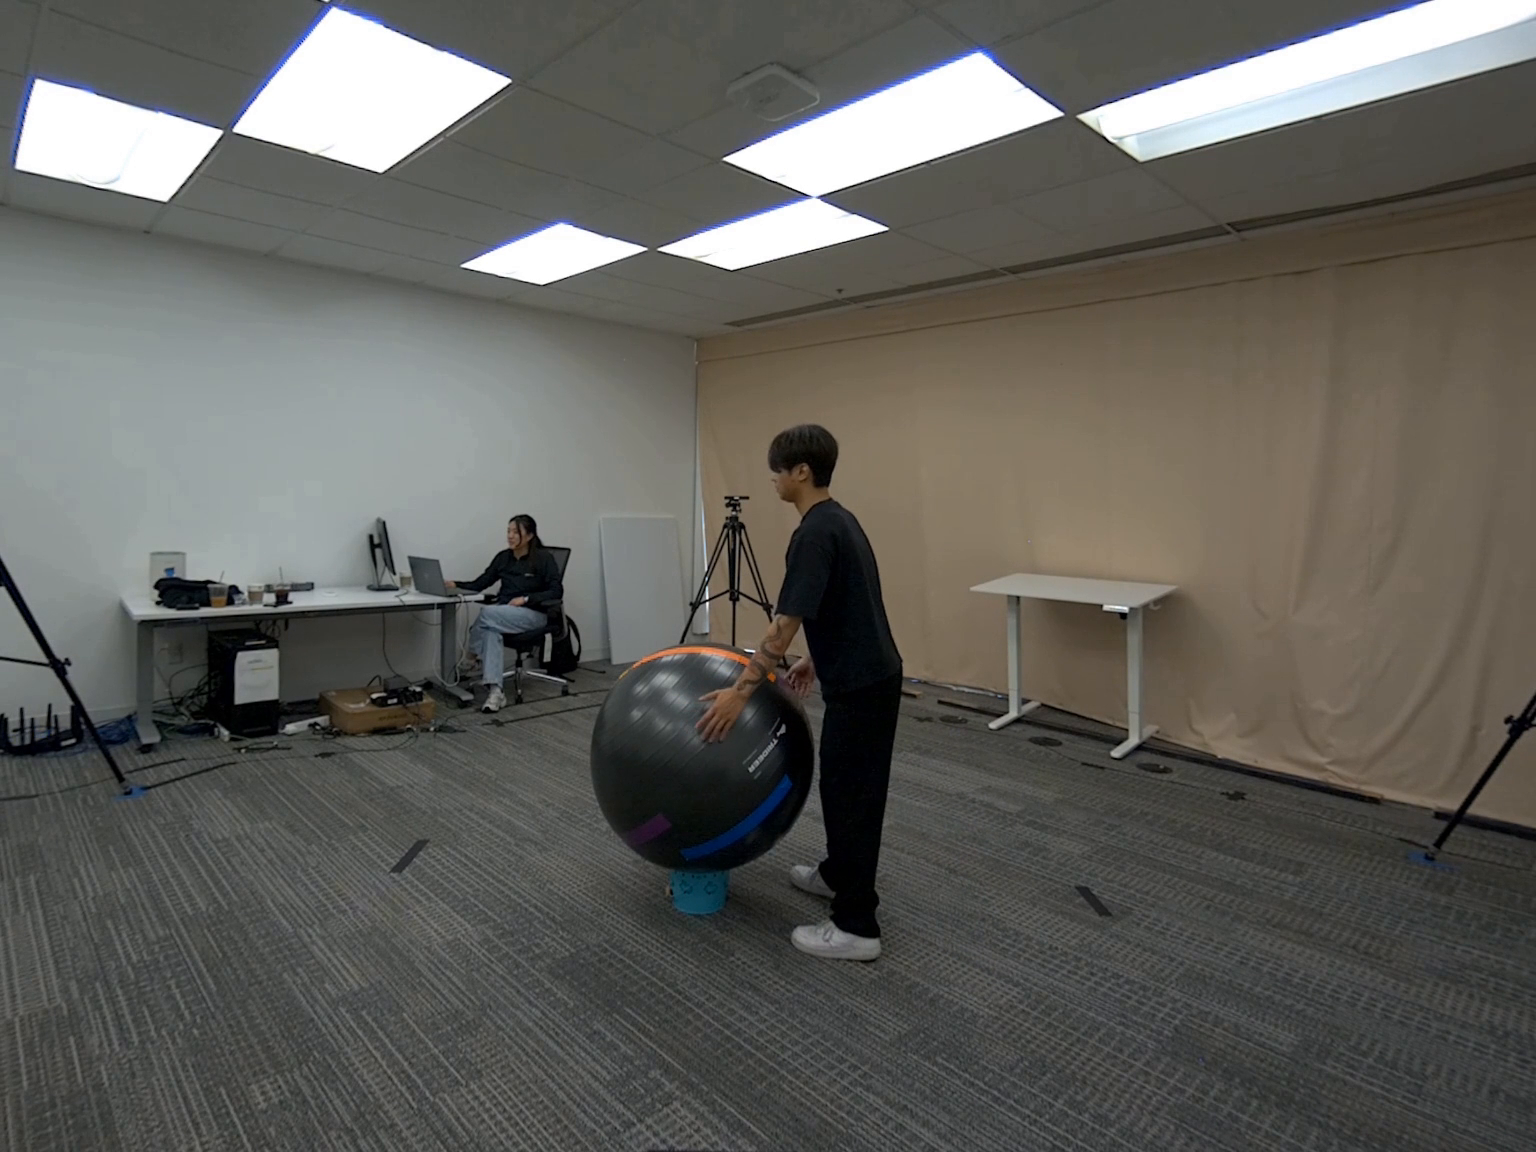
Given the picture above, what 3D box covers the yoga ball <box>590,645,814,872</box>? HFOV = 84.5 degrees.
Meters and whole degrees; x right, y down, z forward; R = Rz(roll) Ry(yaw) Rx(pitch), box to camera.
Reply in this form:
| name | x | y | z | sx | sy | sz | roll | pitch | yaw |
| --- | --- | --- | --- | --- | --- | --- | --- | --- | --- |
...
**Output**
| name | x | y | z | sx | sy | sz | roll | pitch | yaw |
| --- | --- | --- | --- | --- | --- | --- | --- | --- | --- |
| yoga ball | -0.230 | 0.612 | 2.863 | 0.757 | 0.756 | 0.761 | 1 | 4 | -1 |
